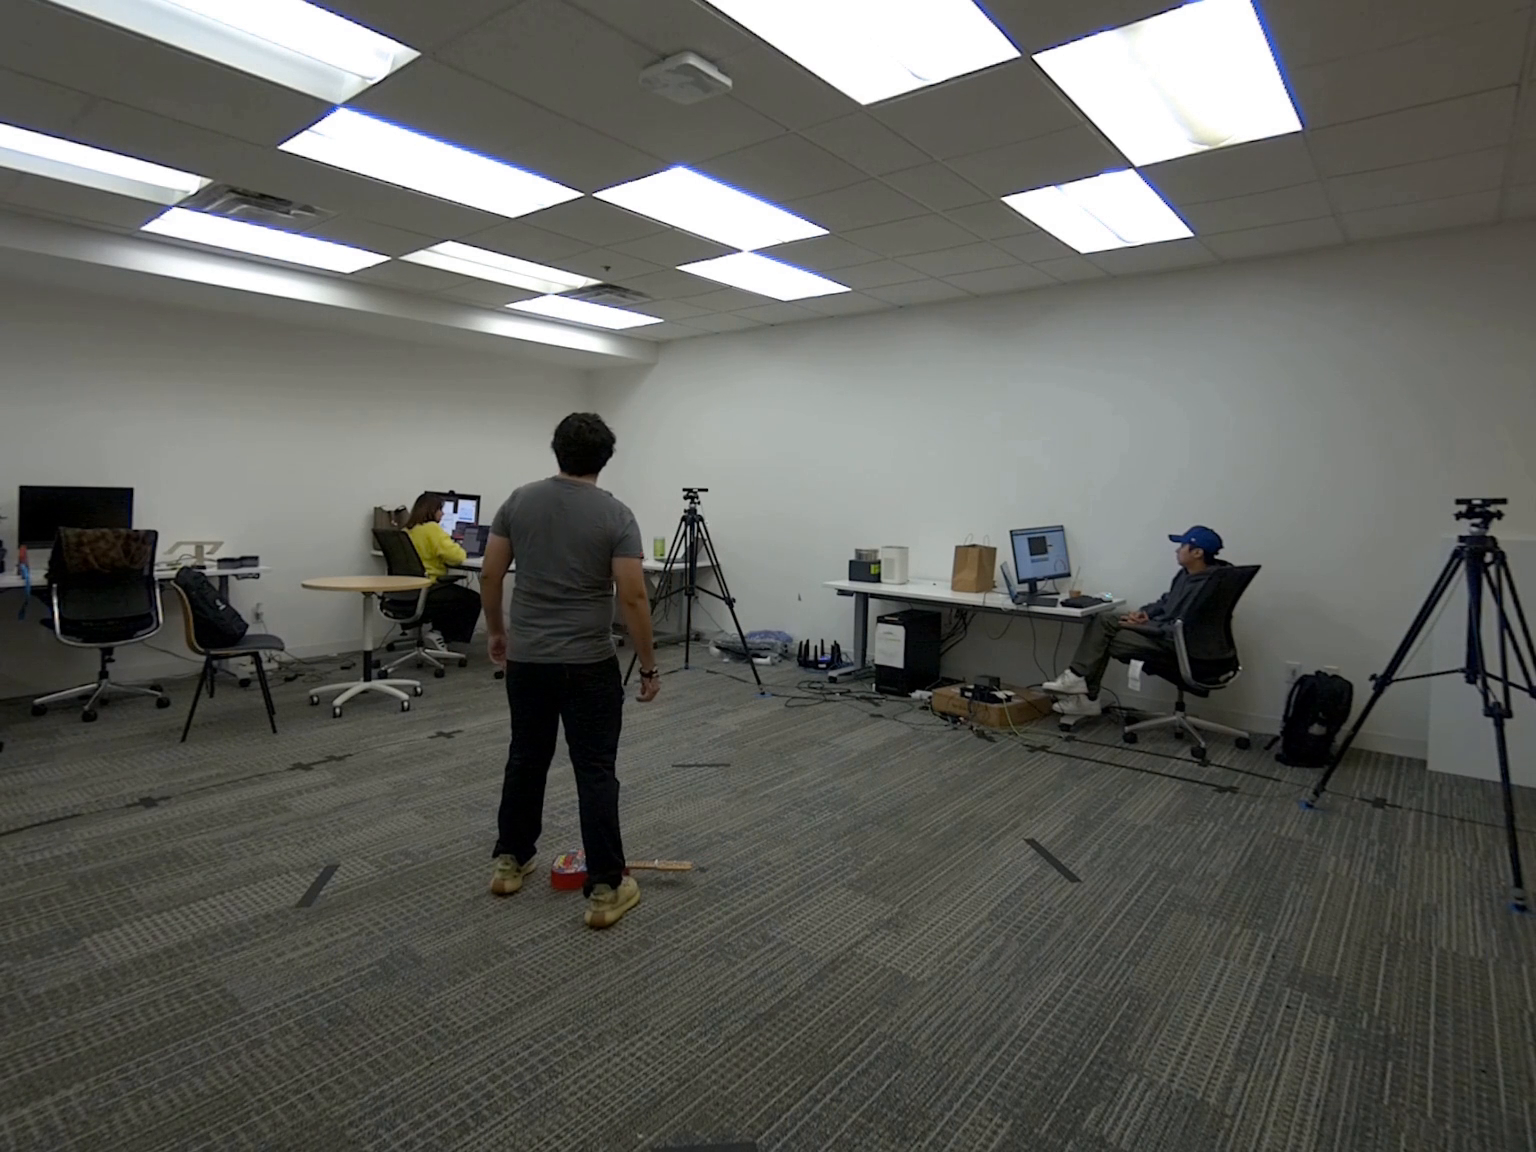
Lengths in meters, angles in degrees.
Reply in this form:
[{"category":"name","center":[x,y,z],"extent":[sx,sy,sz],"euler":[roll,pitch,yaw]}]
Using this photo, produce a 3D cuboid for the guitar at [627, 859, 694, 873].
[{"category":"guitar","center":[-0.530,1.043,2.974],"extent":[0.504,0.070,0.191],"euler":[1,4,11]}]
